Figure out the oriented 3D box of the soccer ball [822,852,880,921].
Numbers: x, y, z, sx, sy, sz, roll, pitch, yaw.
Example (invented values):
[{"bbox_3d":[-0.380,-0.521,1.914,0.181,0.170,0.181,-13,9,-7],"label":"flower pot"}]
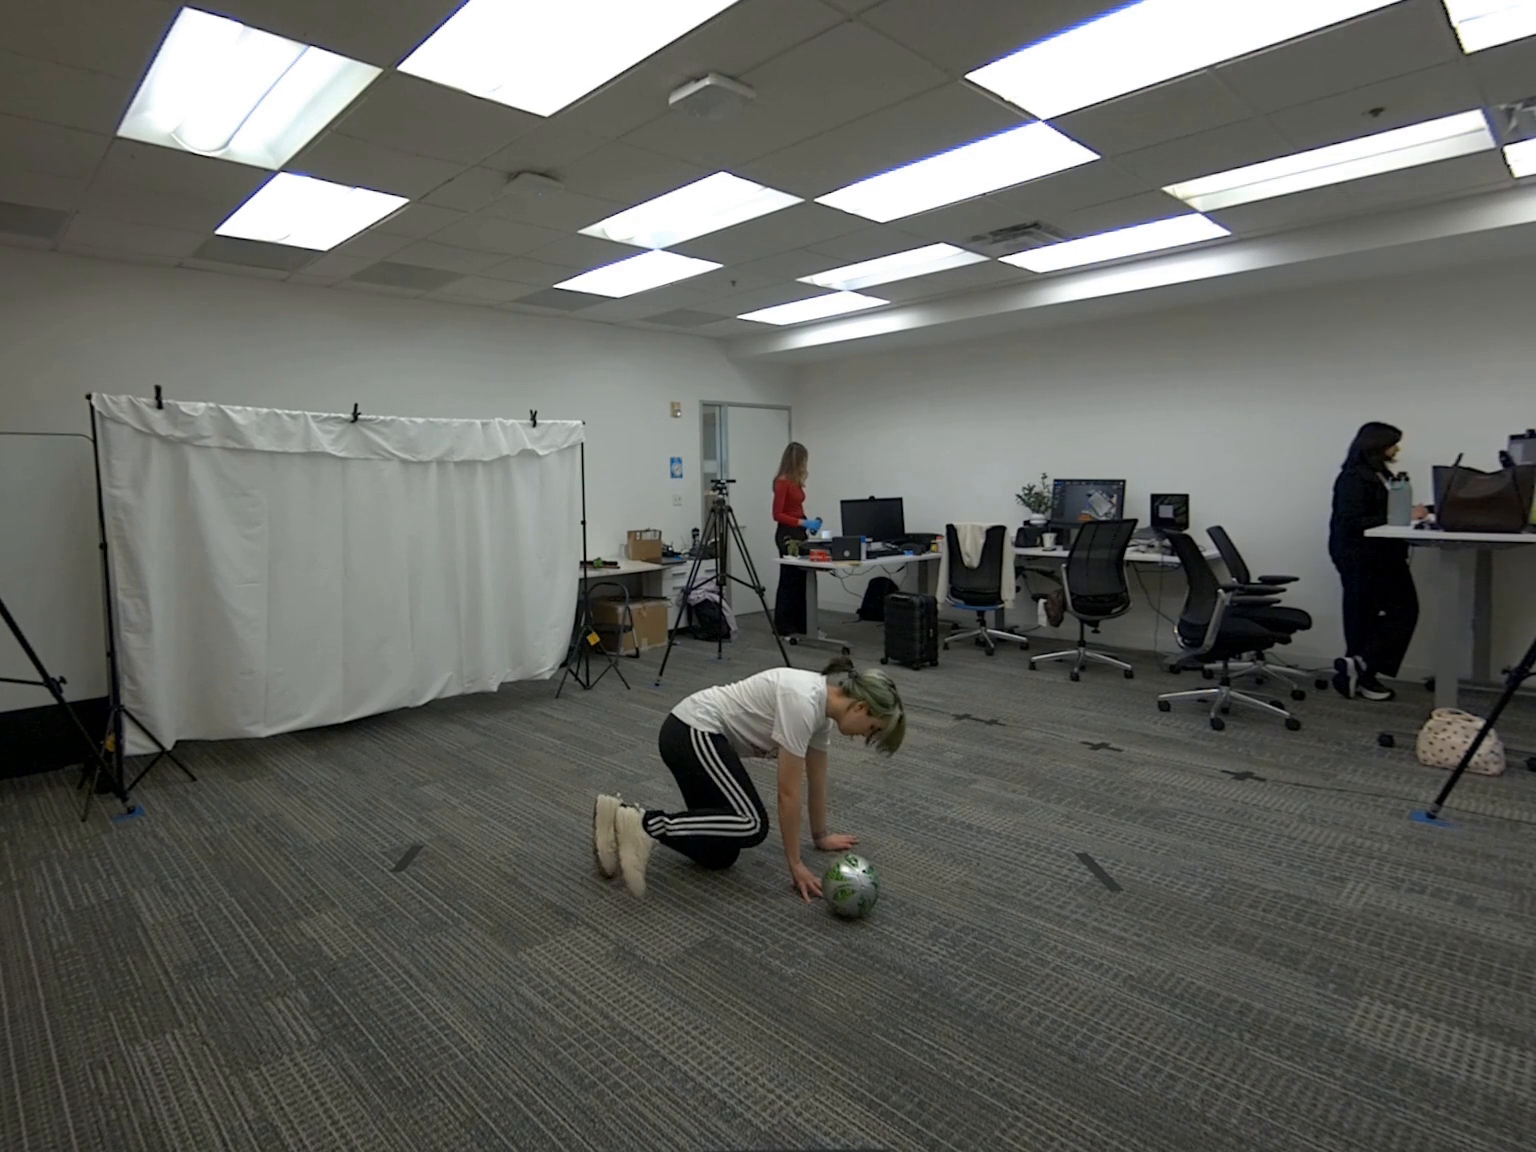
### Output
[{"bbox_3d":[0.266,0.990,2.729,0.187,0.187,0.188,-1,5,-2],"label":"soccer ball"}]
